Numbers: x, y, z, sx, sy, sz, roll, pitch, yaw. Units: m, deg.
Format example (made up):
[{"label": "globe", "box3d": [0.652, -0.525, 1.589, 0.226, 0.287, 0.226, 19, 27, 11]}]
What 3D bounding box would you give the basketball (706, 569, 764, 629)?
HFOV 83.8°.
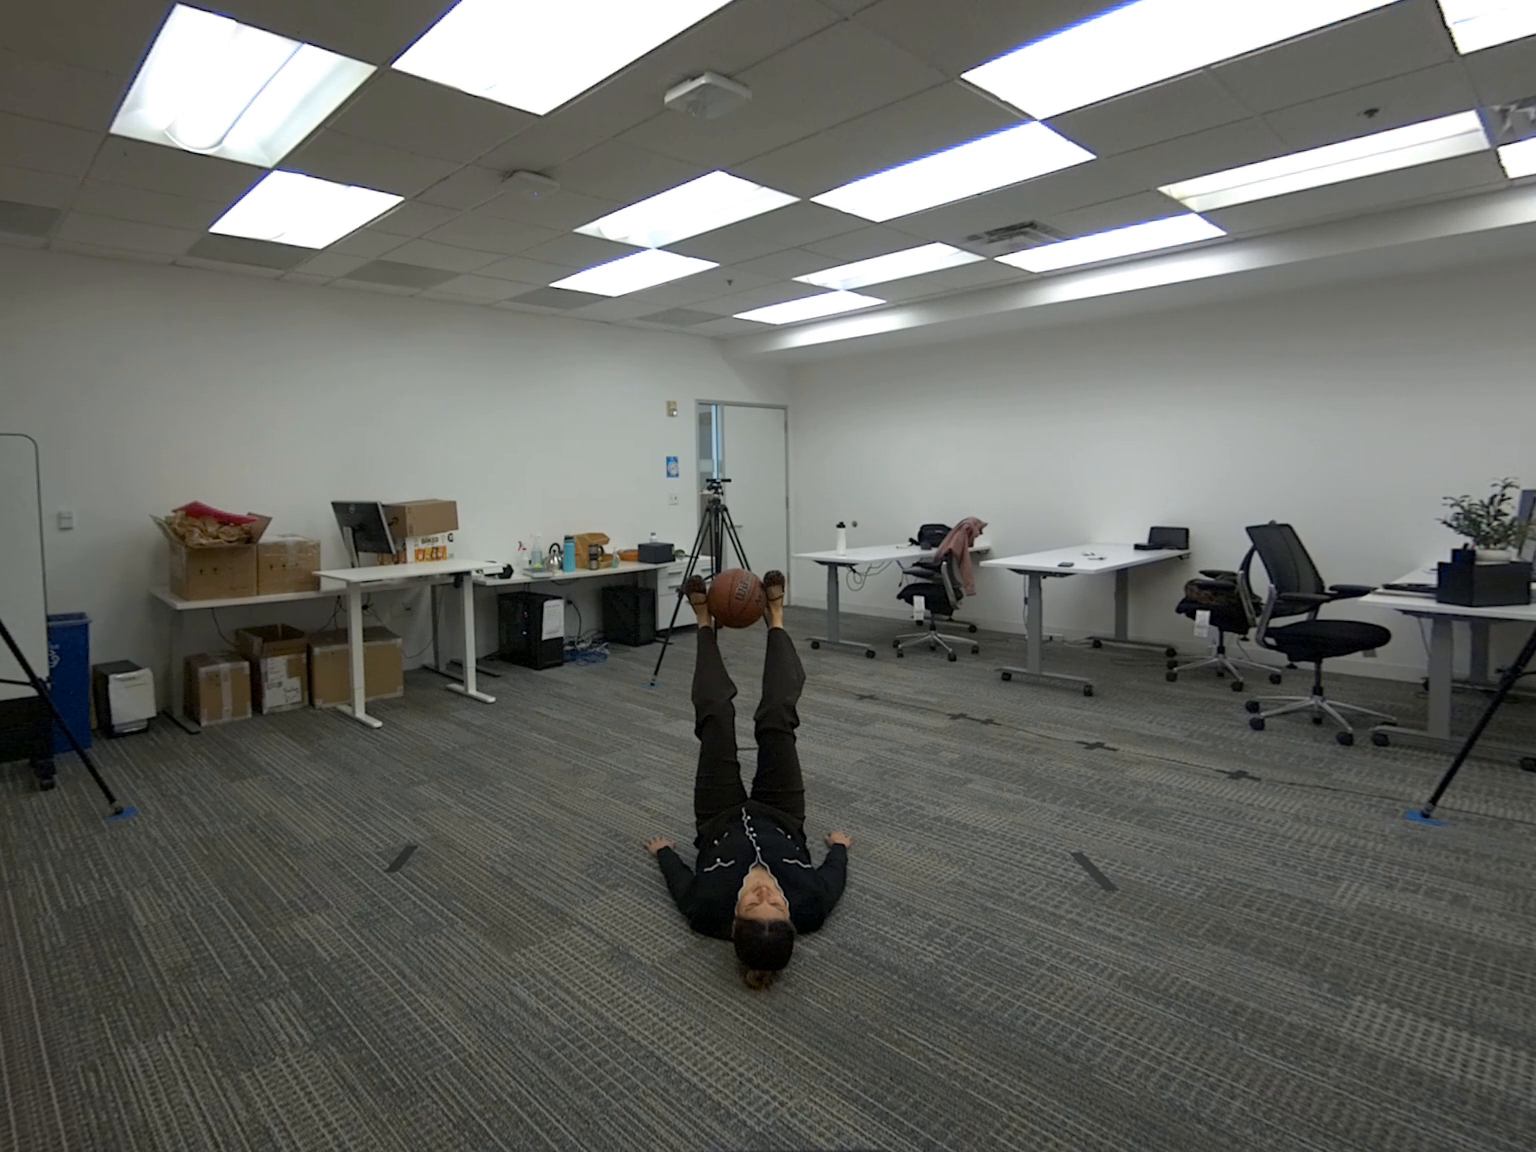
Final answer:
[{"label": "basketball", "box3d": [-0.115, 0.086, 3.346, 0.236, 0.235, 0.237, -4, 4, -1]}]
